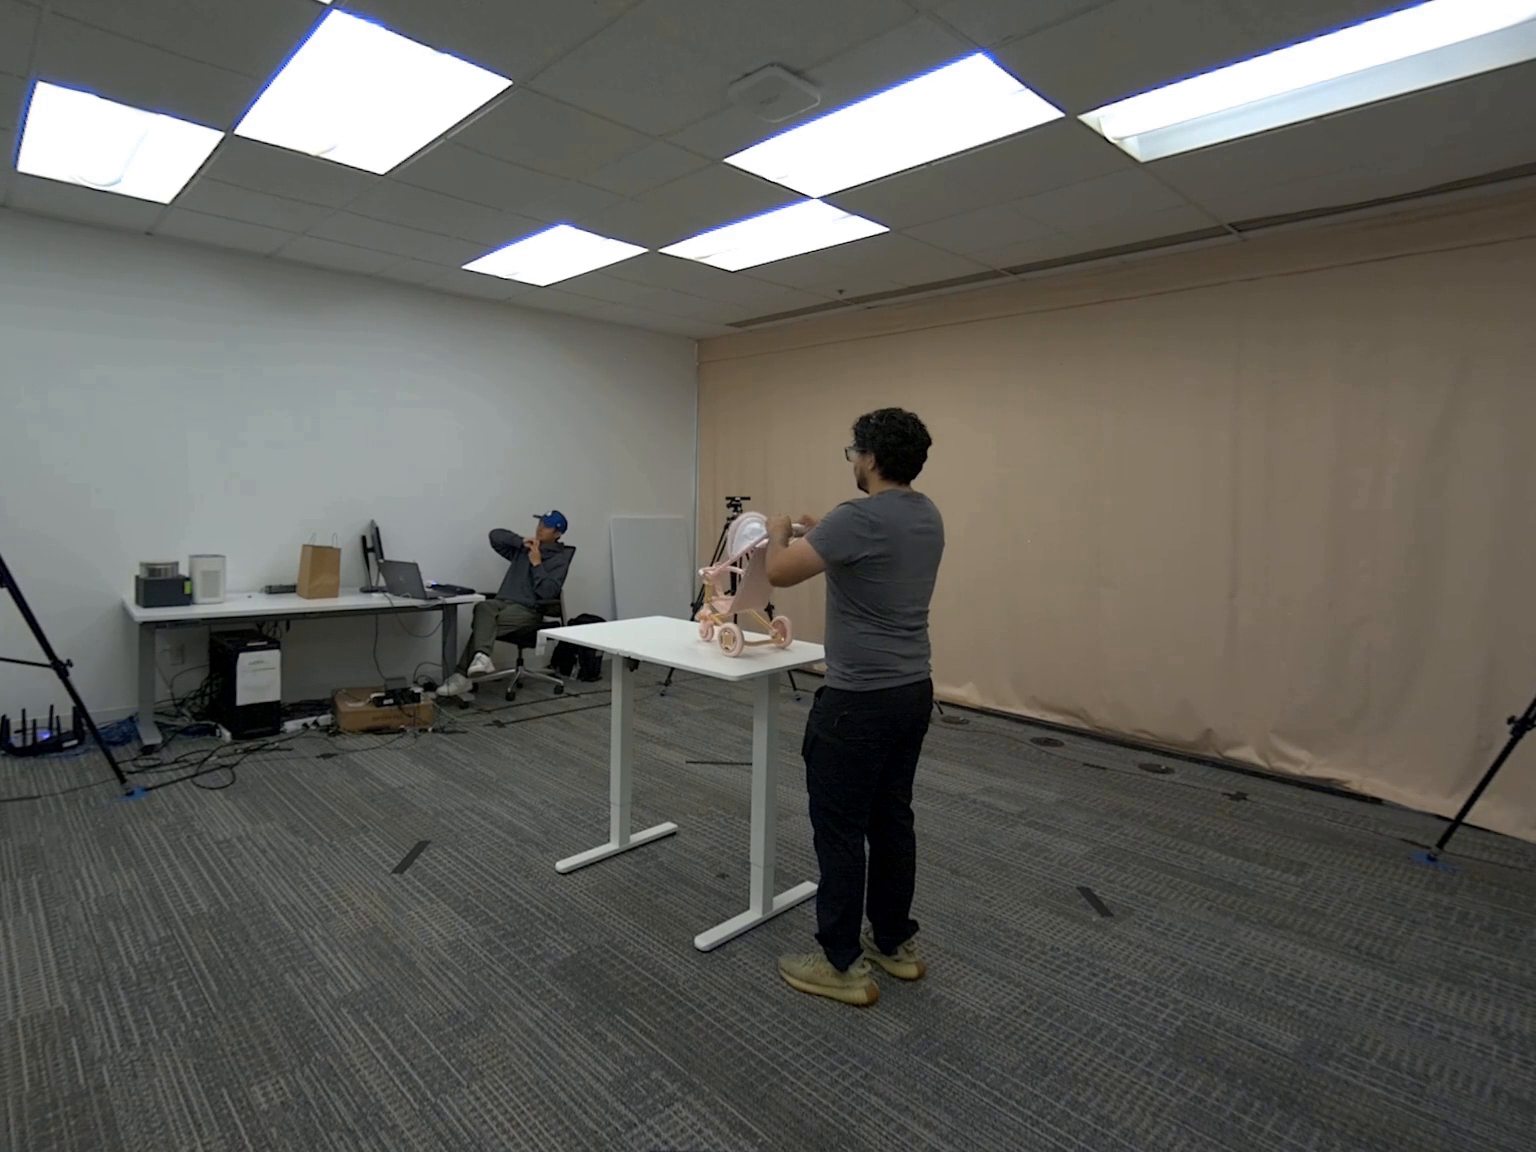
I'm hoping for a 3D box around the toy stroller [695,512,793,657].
[{"bbox_3d":[-0.081,0.026,2.833,0.275,0.530,0.352,-2,20,-42],"label":"toy stroller"}]
